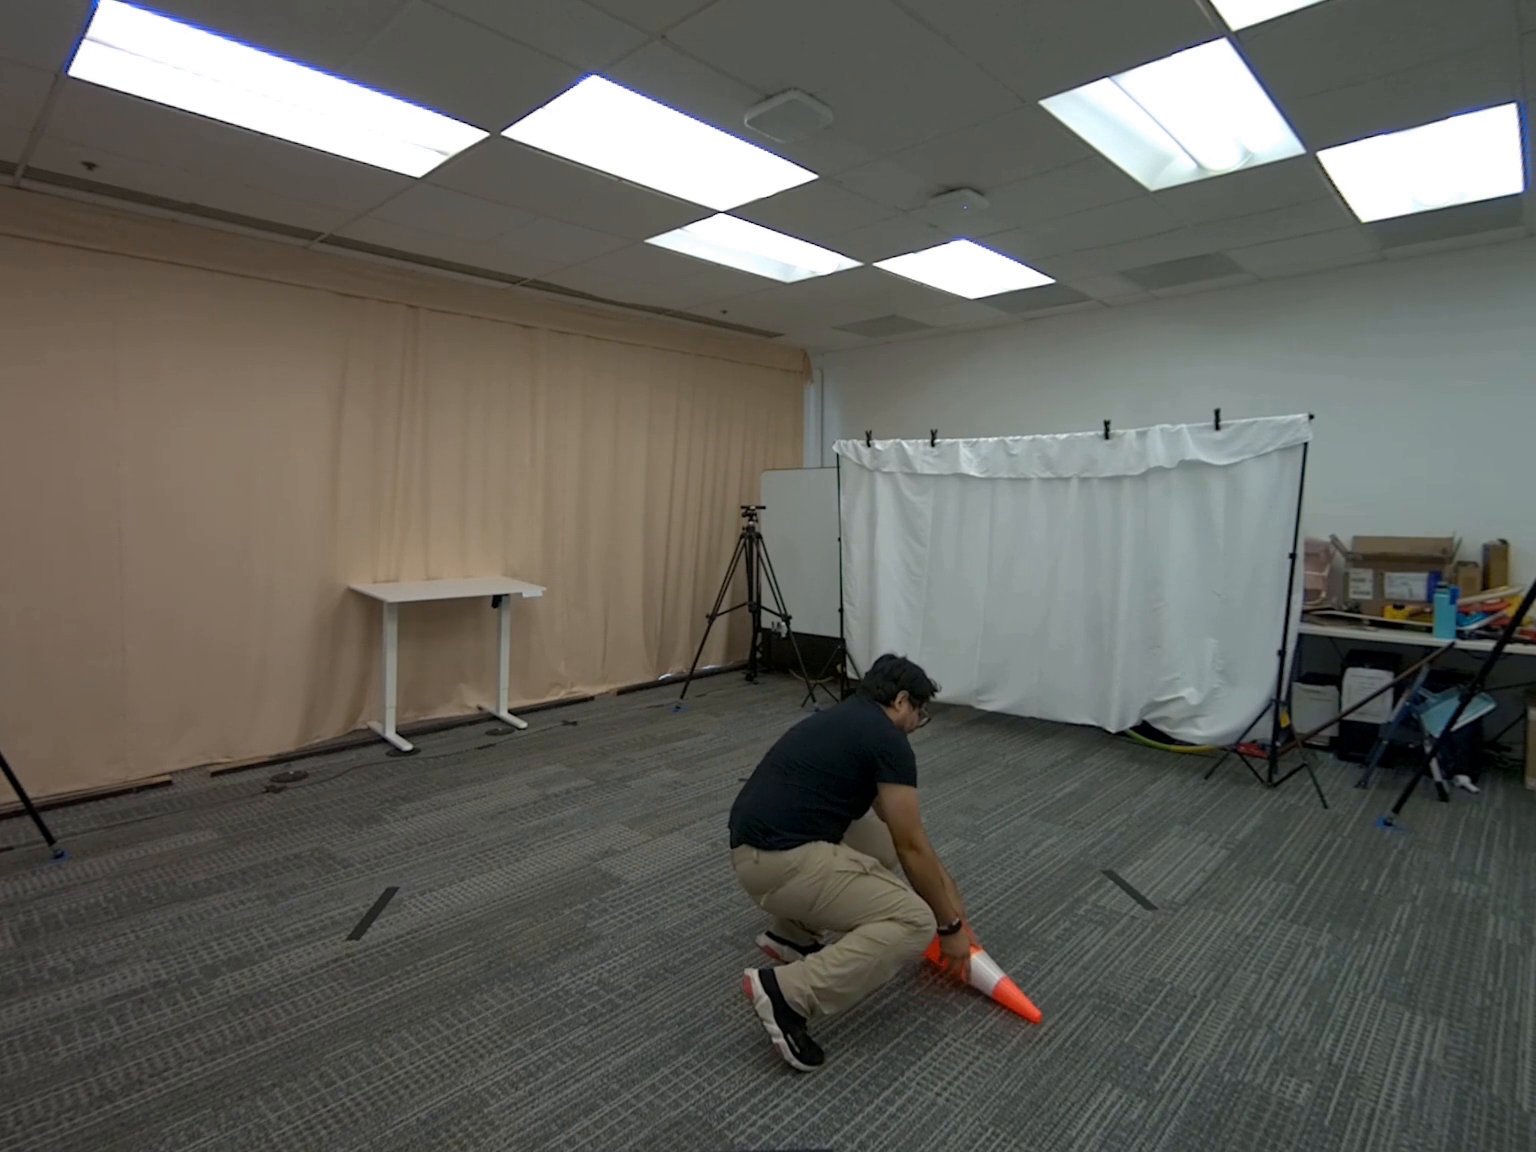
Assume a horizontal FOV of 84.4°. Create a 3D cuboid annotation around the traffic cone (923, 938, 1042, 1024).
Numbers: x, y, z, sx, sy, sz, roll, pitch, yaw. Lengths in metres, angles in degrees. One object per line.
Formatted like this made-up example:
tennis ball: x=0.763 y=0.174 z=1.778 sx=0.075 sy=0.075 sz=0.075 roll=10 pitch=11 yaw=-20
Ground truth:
traffic cone: x=0.619 y=1.135 z=2.401 sx=0.197 sy=0.203 sz=0.398 roll=22 pitch=6 yaw=-42
